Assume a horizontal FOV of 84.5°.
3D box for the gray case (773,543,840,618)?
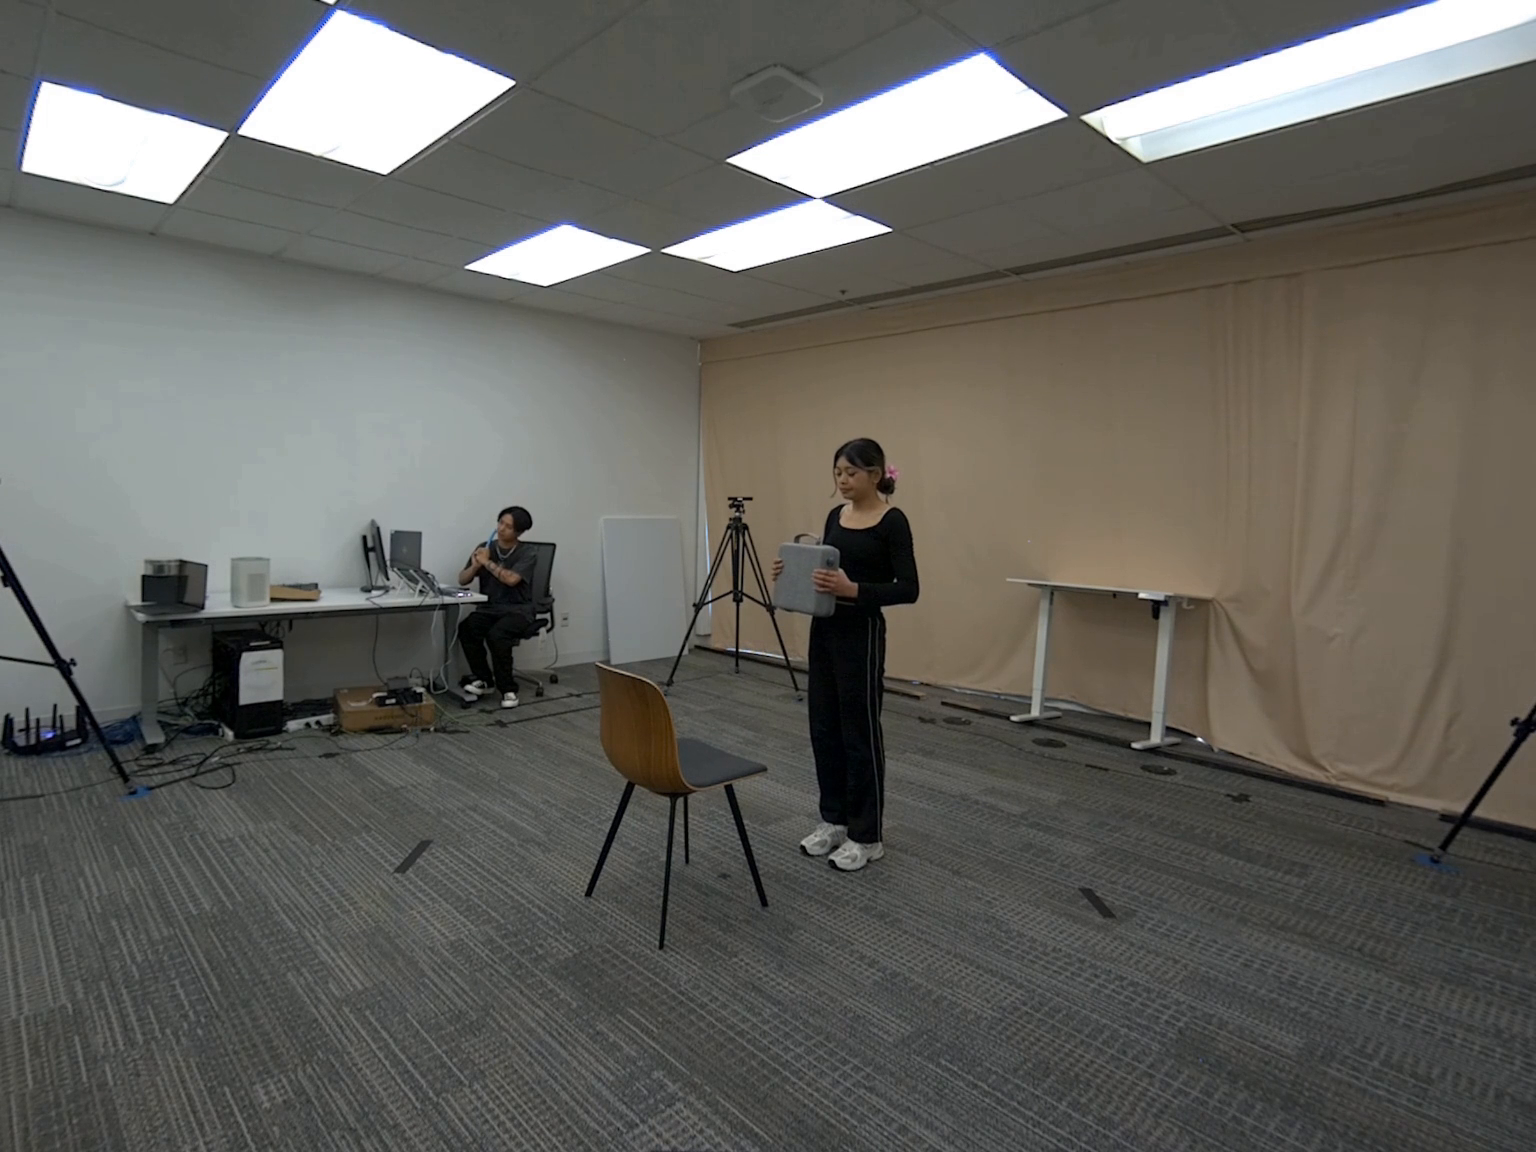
[{"bbox_3d":[0.137,0.009,3.079,0.102,0.260,0.263,5,1,-34],"label":"gray case"}]
